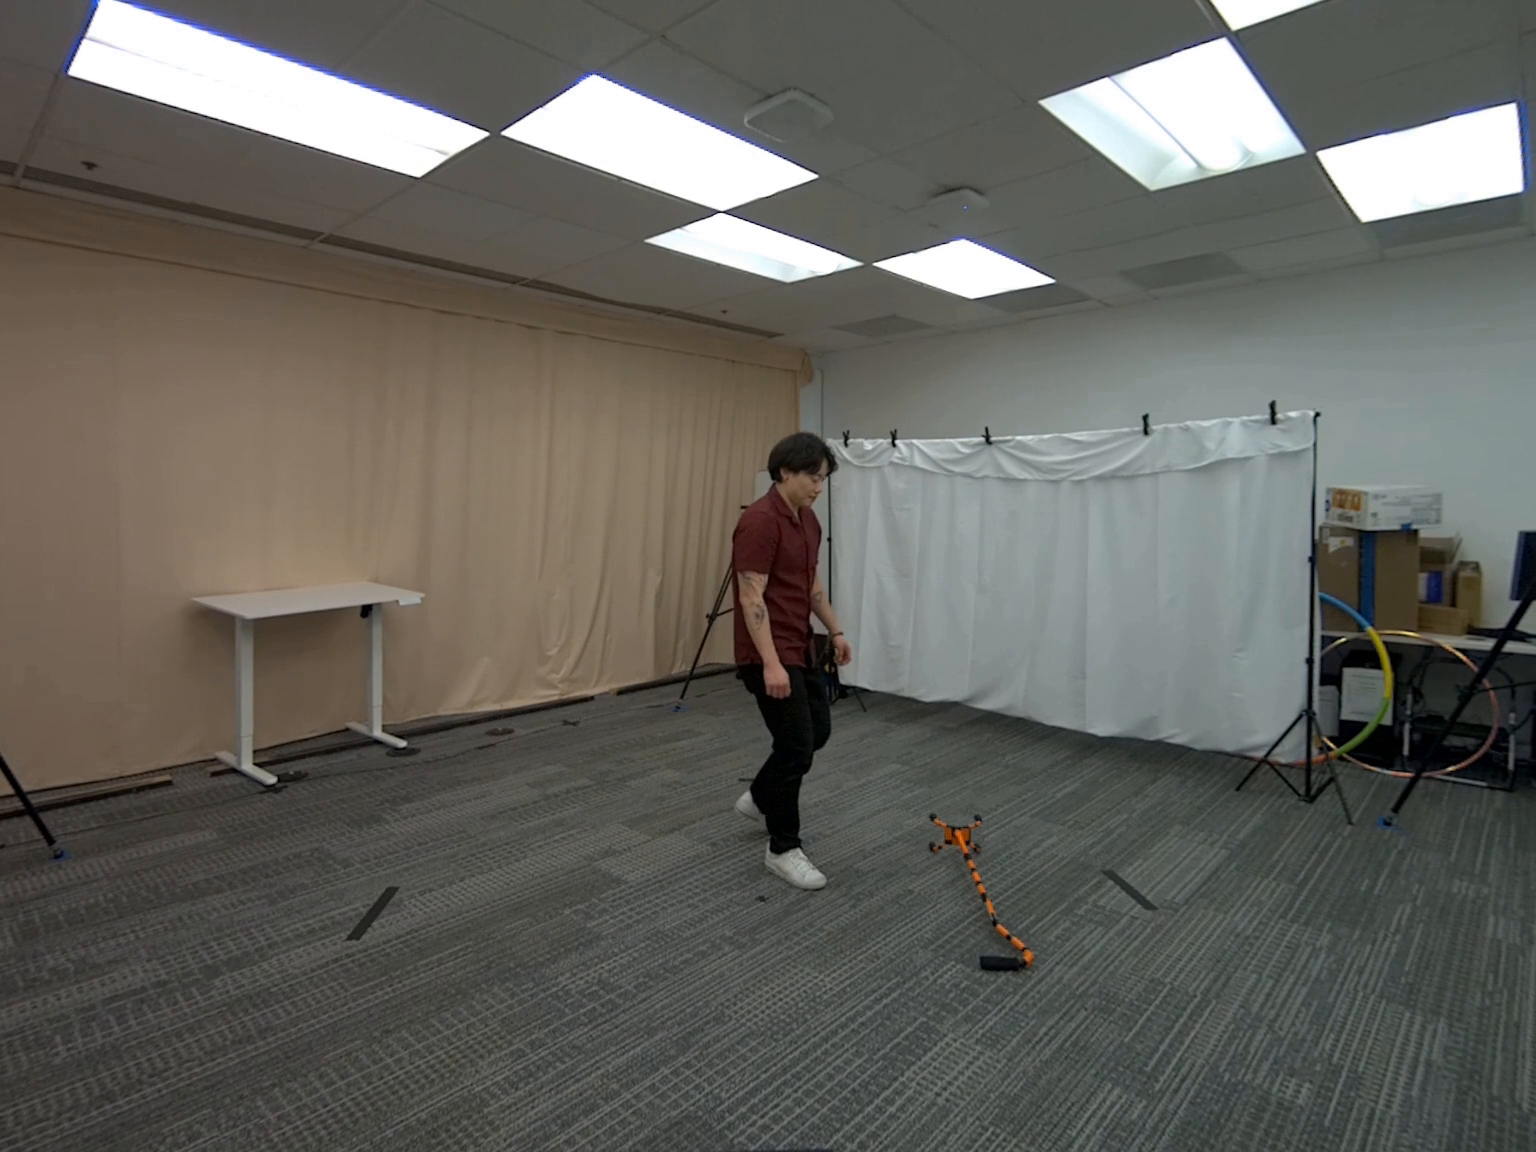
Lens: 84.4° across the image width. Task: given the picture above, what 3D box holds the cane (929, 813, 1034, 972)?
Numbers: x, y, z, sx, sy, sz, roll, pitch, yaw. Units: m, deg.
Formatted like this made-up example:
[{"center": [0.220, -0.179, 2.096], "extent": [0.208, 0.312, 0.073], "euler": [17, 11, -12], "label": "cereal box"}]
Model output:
[{"center": [0.755, 1.102, 2.952], "extent": [0.207, 0.151, 0.909], "euler": [0, 9, 2], "label": "cane"}]
